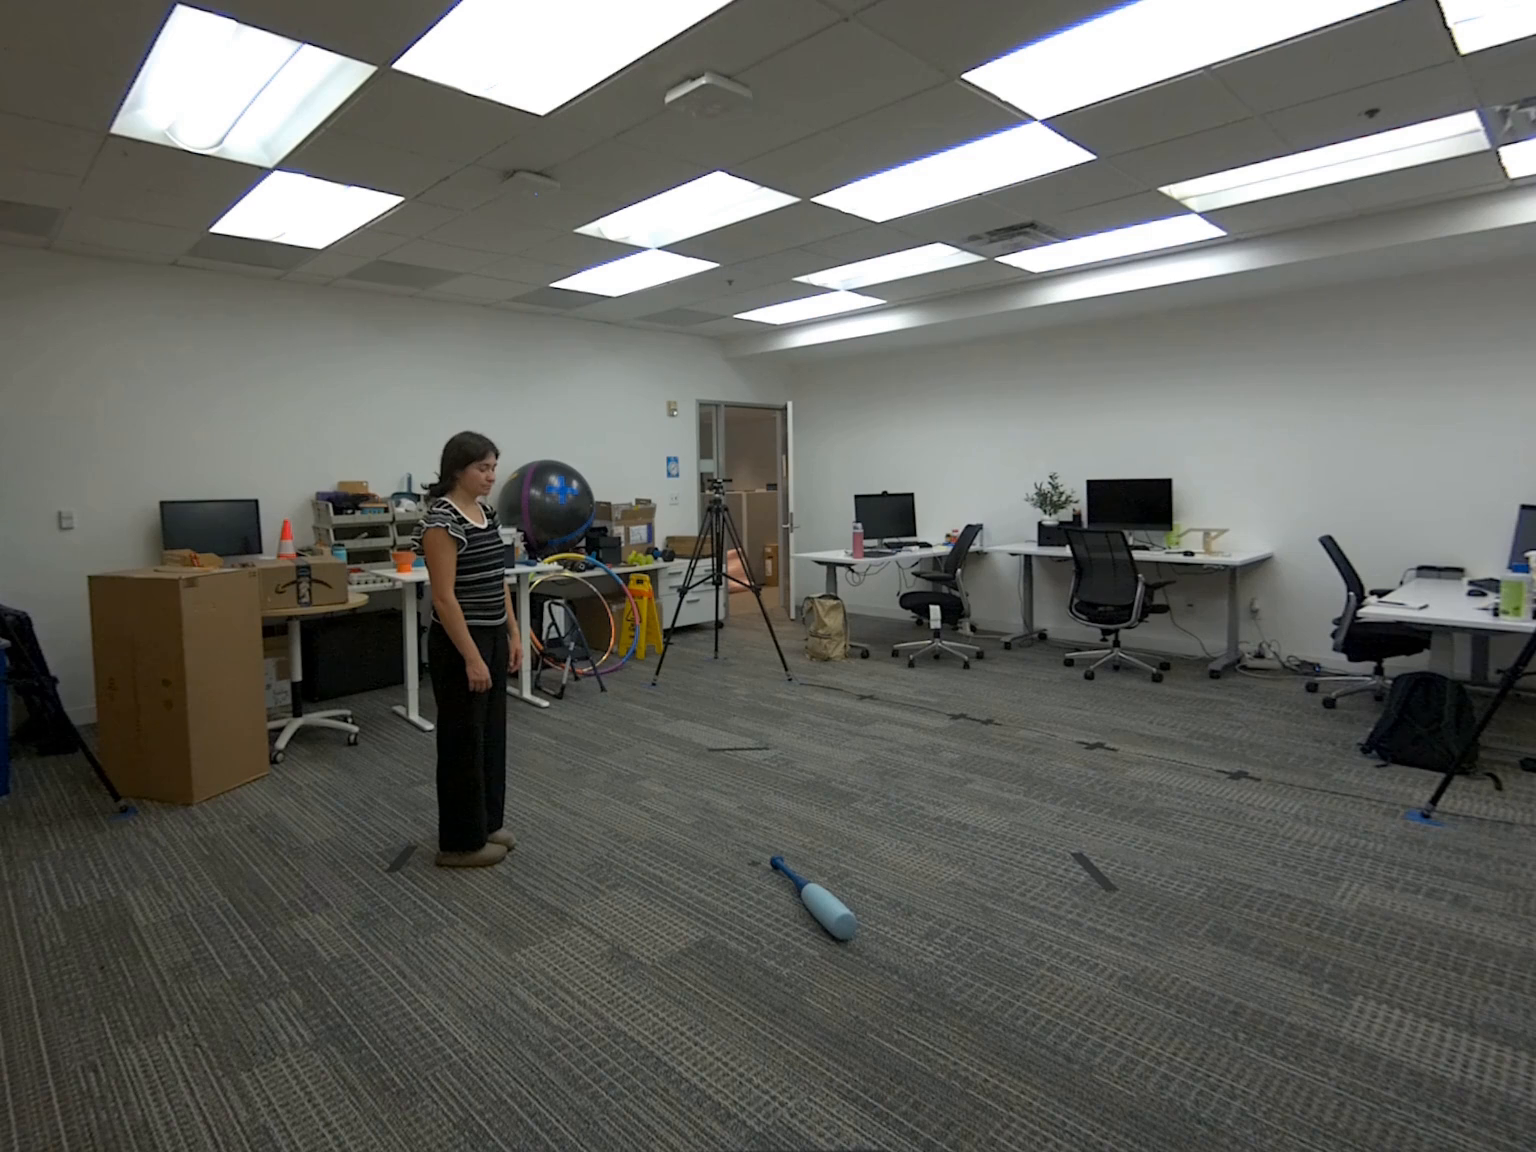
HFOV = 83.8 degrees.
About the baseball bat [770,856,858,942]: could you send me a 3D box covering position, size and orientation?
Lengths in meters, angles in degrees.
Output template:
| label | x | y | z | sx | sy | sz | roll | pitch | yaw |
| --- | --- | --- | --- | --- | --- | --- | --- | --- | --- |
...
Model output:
| label | x | y | z | sx | sy | sz | roll | pitch | yaw |
| --- | --- | --- | --- | --- | --- | --- | --- | --- | --- |
| baseball bat | 0.136 | 1.042 | 2.810 | 0.087 | 0.089 | 0.553 | -3 | 3 | -21 |
